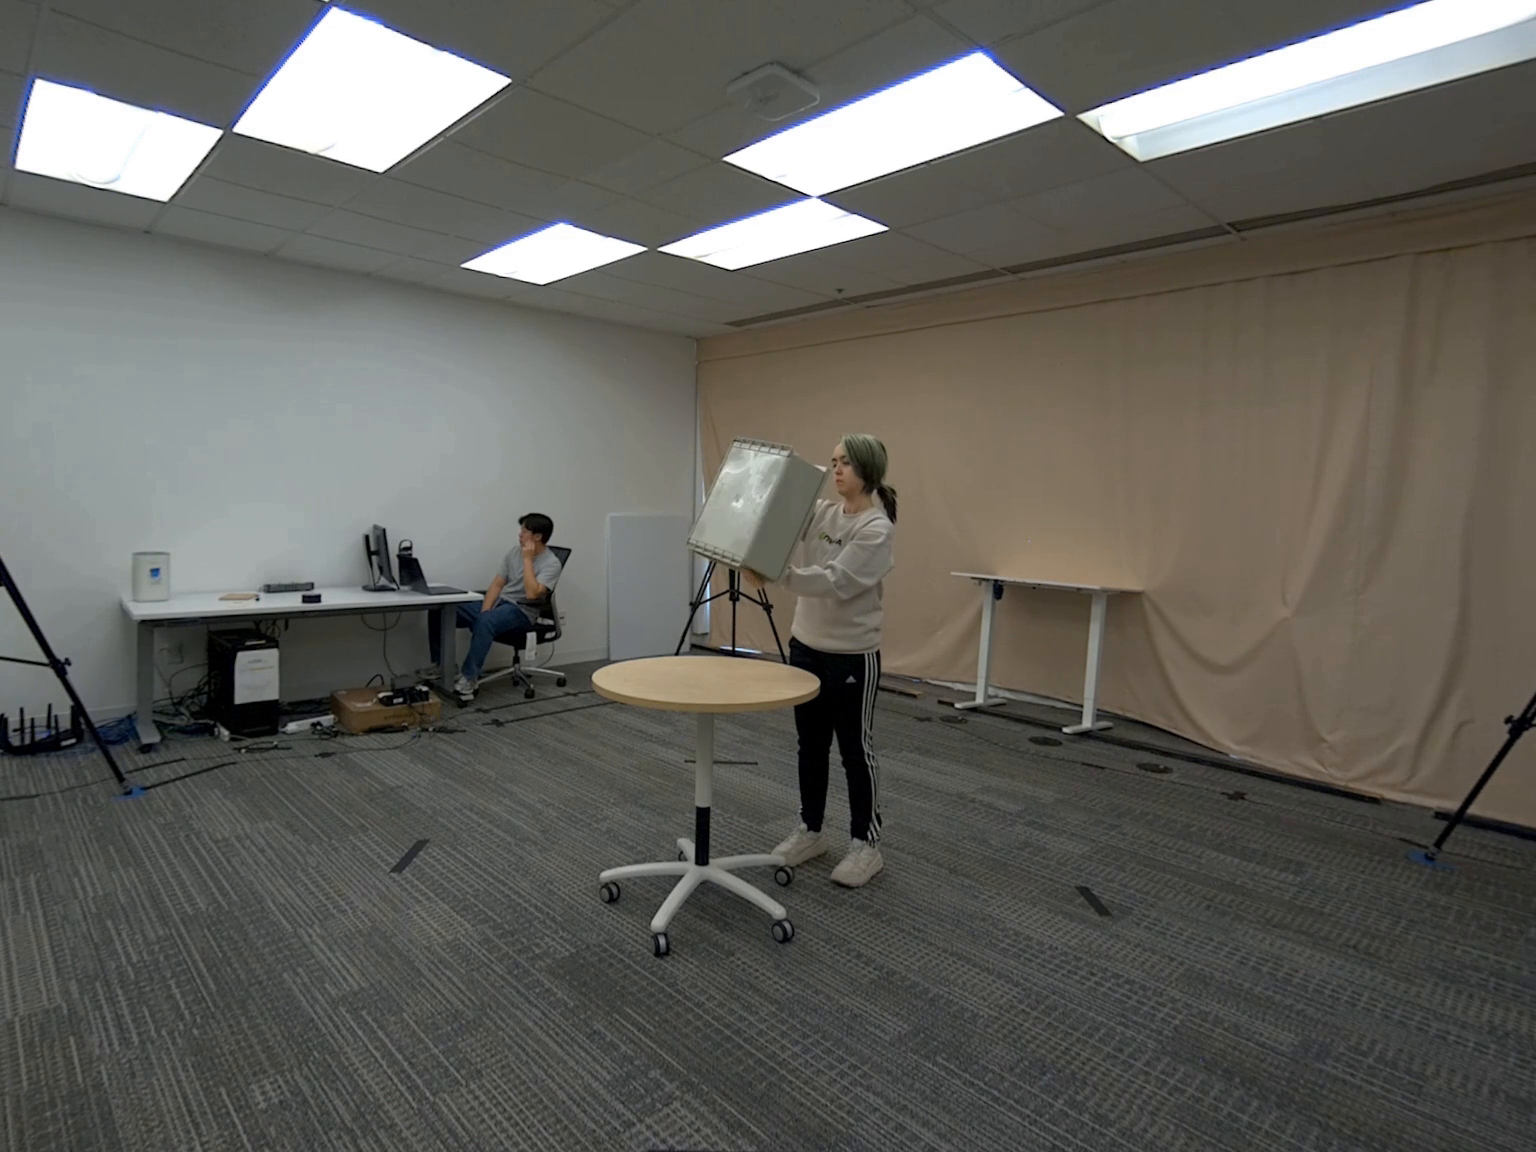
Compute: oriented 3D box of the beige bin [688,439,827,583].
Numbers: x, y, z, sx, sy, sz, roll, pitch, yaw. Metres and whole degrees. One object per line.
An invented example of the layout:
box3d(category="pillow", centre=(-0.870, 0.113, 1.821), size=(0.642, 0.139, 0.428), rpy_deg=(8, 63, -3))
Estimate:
box3d(category="beige bin", centre=(-0.060, -0.226, 2.820), size=(0.183, 0.423, 0.388), rpy_deg=(28, -5, -38))
